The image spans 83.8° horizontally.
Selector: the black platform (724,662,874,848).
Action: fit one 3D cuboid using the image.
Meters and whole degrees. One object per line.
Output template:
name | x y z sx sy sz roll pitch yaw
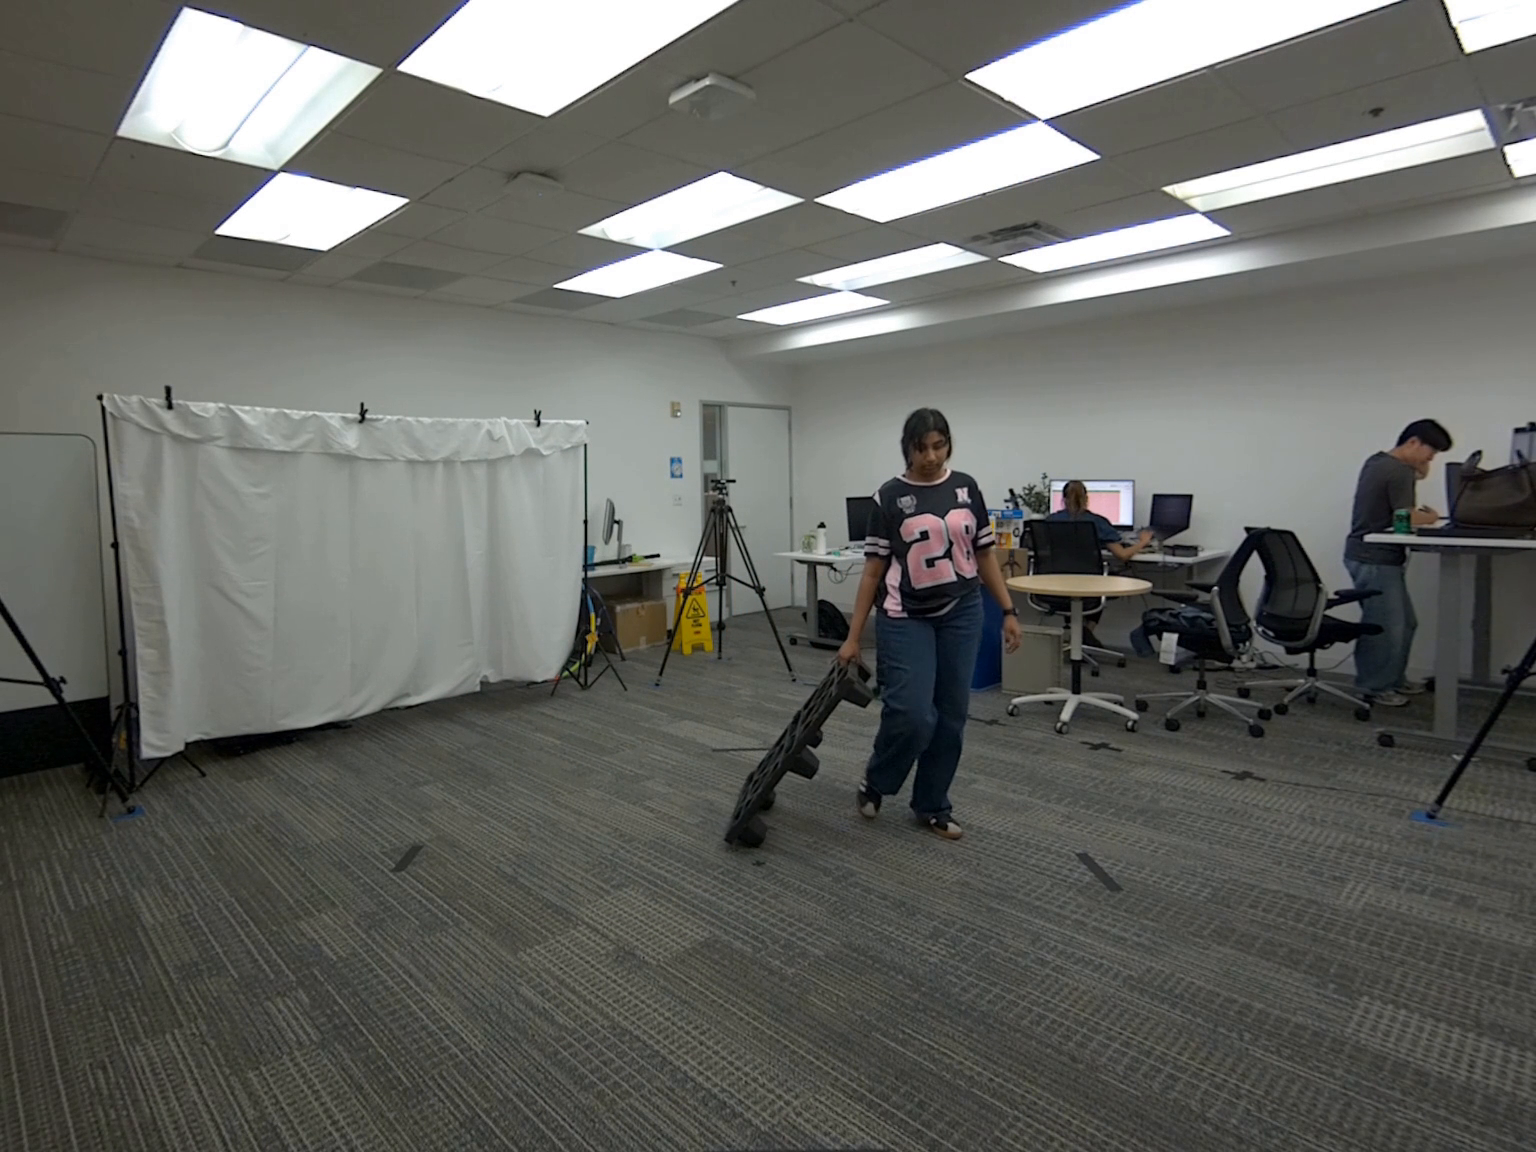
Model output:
black platform | 0.143 0.676 3.424 0.144 0.804 0.603 34 8 2
